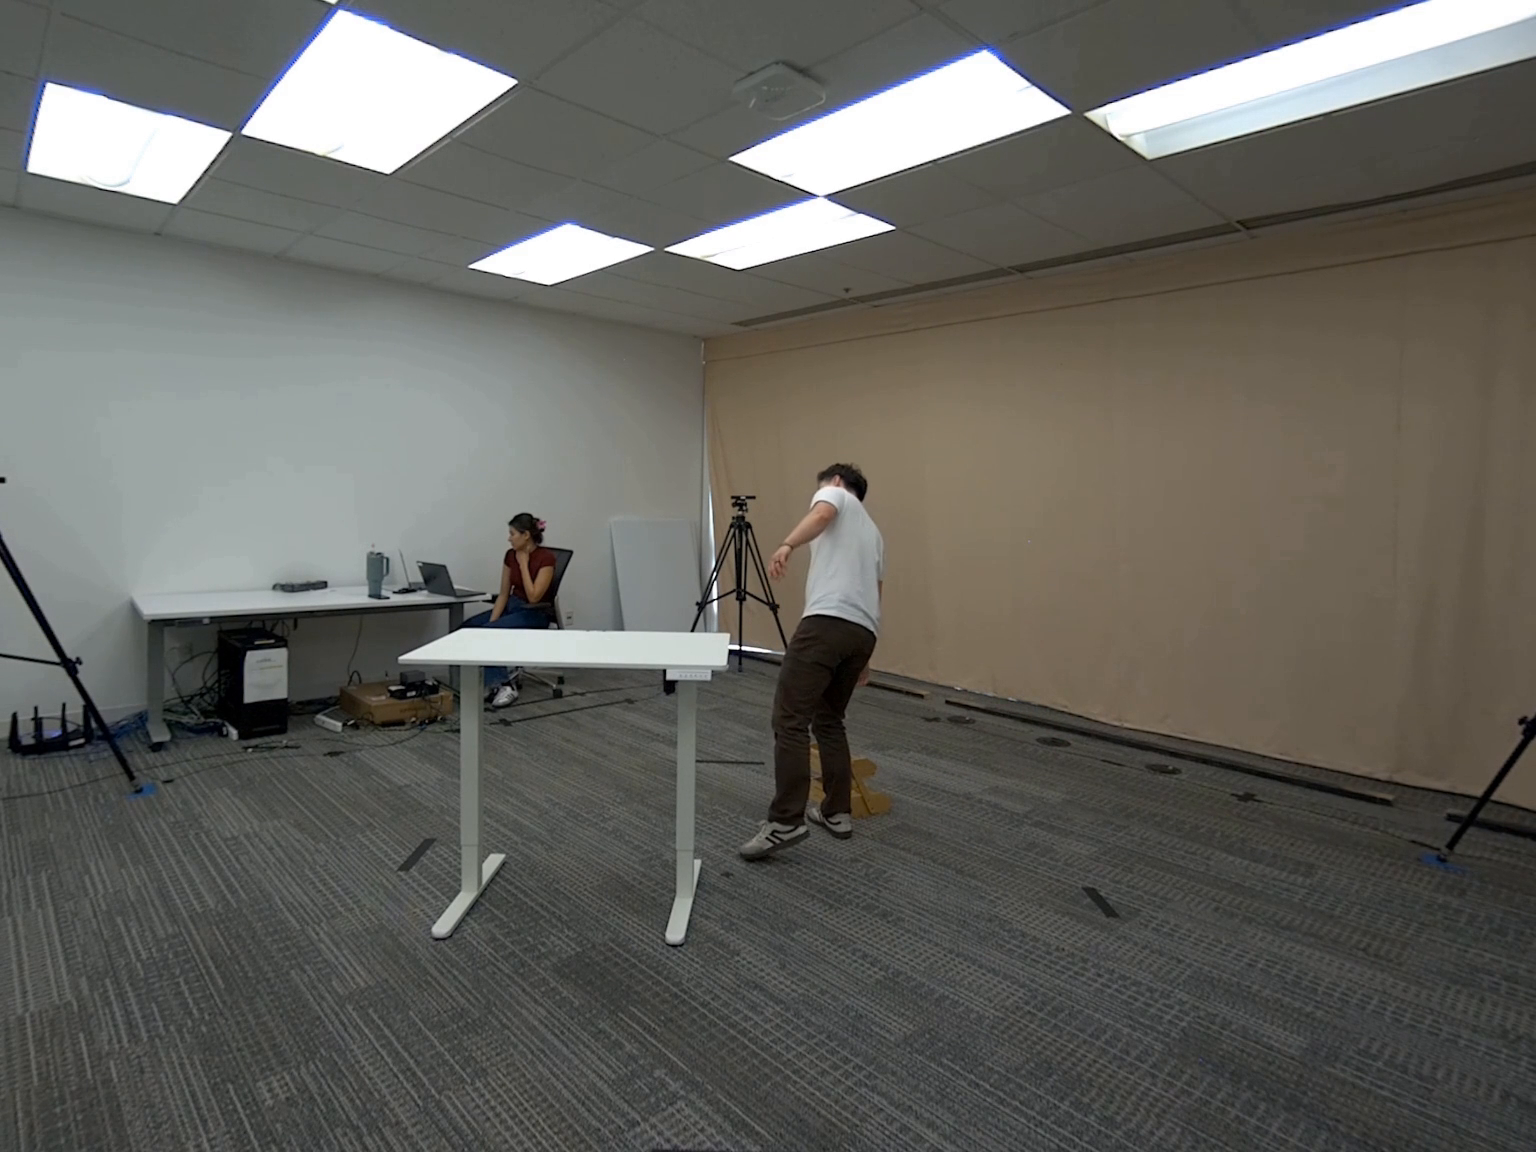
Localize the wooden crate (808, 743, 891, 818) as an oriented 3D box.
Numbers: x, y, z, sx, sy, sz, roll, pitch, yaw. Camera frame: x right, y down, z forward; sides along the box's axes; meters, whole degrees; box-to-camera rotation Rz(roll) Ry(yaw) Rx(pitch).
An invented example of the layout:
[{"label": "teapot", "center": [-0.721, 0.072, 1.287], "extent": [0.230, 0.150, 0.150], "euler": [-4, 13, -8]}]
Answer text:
[{"label": "wooden crate", "center": [0.357, 0.920, 3.860], "extent": [0.296, 0.272, 0.332], "euler": [-2, 5, -30]}]
